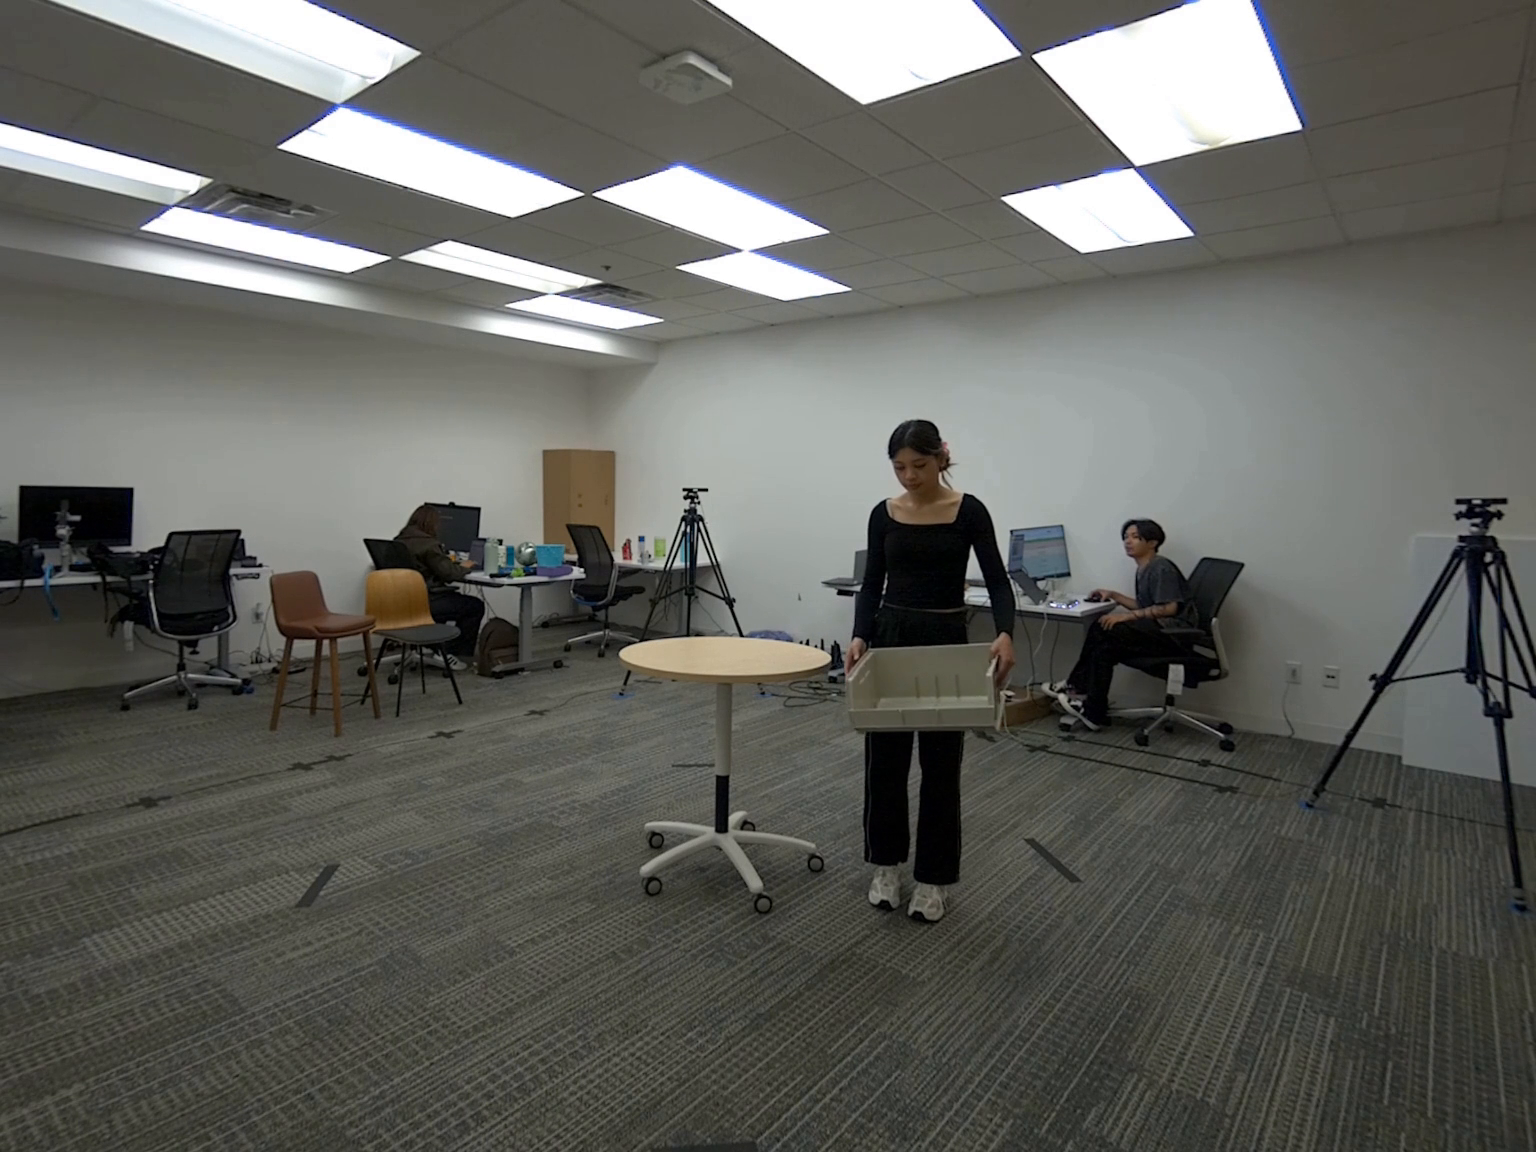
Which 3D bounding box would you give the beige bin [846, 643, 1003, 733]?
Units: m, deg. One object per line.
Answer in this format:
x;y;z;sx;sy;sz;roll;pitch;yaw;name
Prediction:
0.486;0.341;2.586;0.430;0.188;0.372;-5;6;20;beige bin
